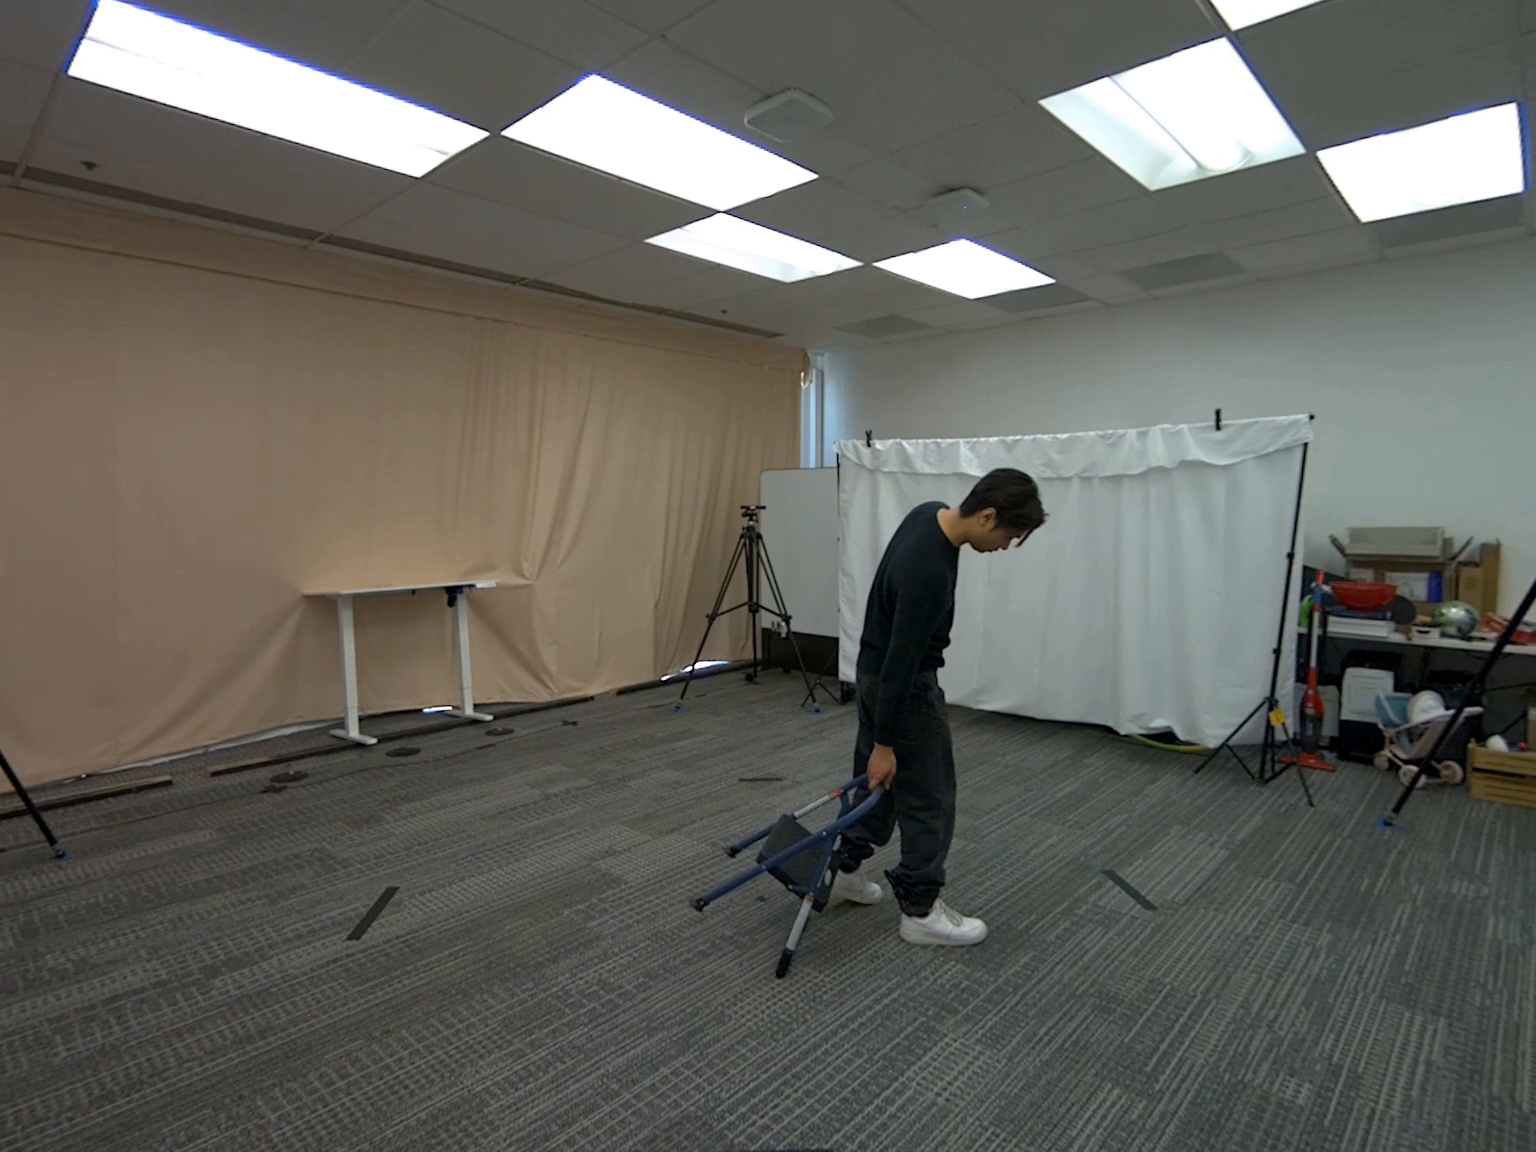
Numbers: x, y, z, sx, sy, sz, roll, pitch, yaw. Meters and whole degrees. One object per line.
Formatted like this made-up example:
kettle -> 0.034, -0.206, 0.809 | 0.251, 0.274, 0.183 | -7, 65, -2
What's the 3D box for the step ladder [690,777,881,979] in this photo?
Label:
step ladder -> 0.120, 0.836, 2.641 | 0.353, 0.607, 0.425 | 37, 11, 8
